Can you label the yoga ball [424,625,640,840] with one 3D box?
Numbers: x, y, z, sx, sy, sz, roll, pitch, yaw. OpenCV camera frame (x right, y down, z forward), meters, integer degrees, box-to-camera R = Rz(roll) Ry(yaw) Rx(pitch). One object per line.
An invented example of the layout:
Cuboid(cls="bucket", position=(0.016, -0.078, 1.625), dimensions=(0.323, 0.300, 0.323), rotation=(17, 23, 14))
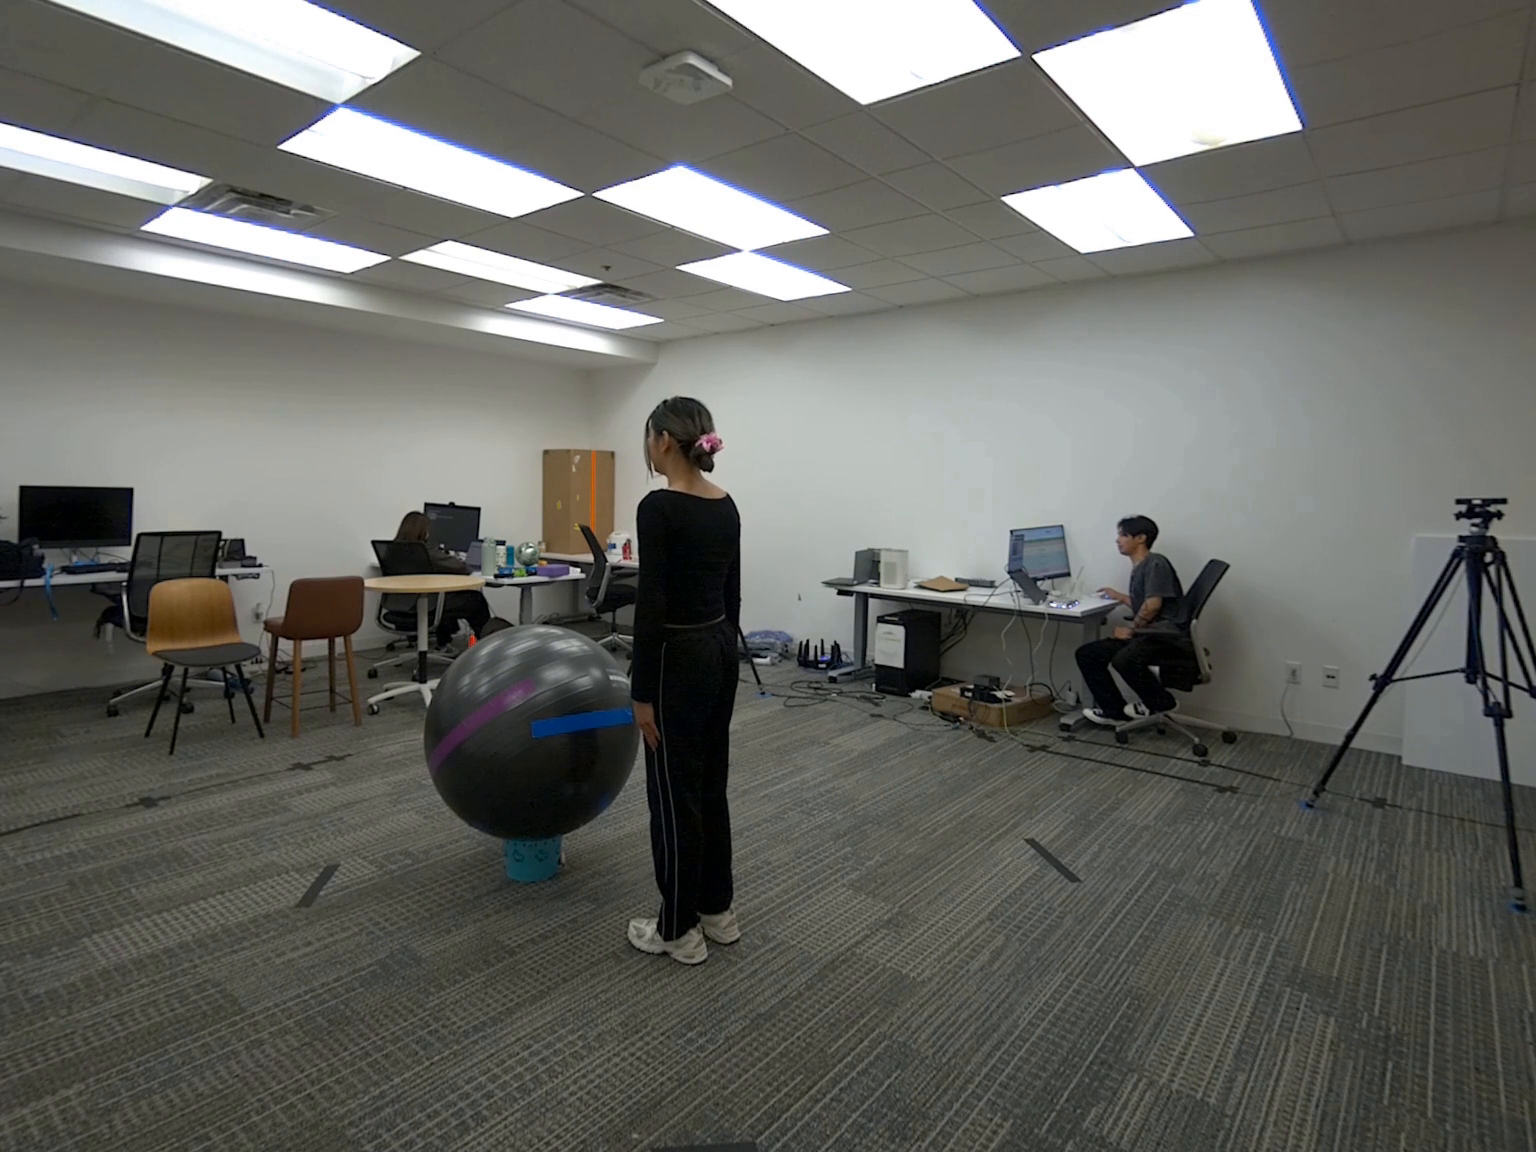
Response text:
Cuboid(cls="yoga ball", position=(-0.853, 0.554, 3.056), dimensions=(0.757, 0.755, 0.762), rotation=(1, 4, -2))
